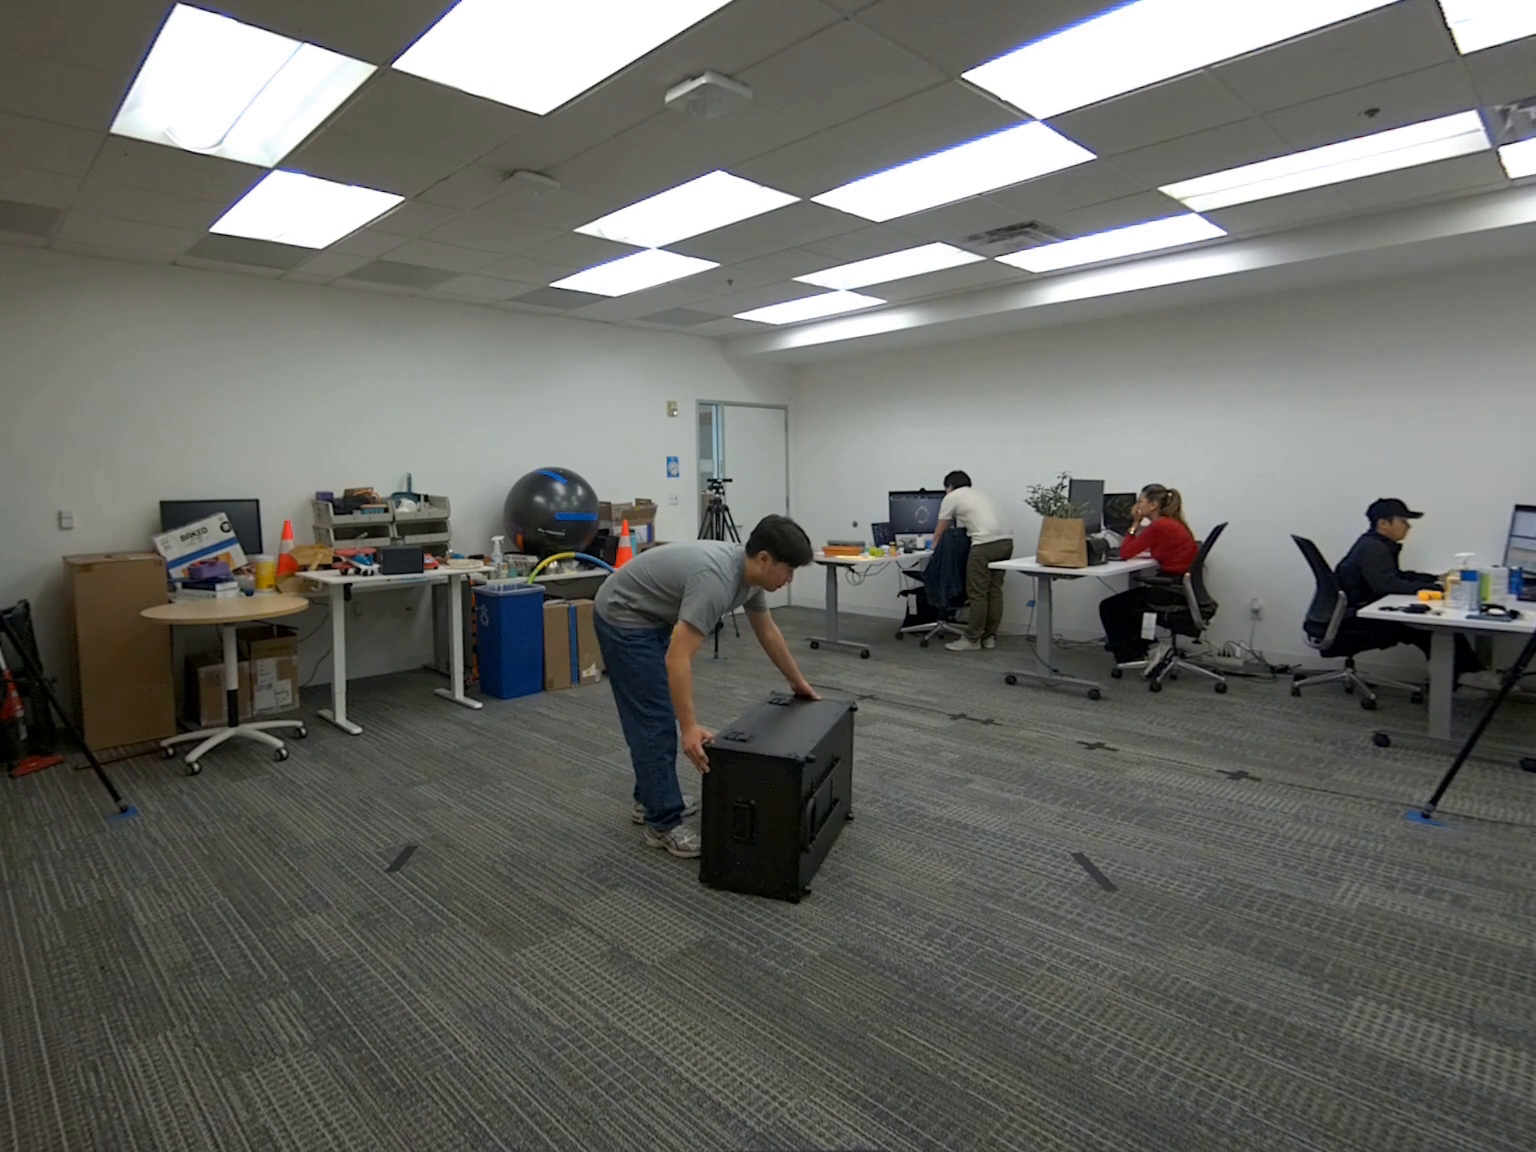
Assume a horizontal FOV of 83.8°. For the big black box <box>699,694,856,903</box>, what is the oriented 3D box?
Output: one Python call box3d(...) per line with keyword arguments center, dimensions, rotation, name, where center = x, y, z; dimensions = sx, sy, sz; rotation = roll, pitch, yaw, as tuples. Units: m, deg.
box3d(center=(0.084, 0.769, 3.230), dimensions=(0.404, 0.519, 0.849), rotation=(2, 6, 19), name="big black box")
